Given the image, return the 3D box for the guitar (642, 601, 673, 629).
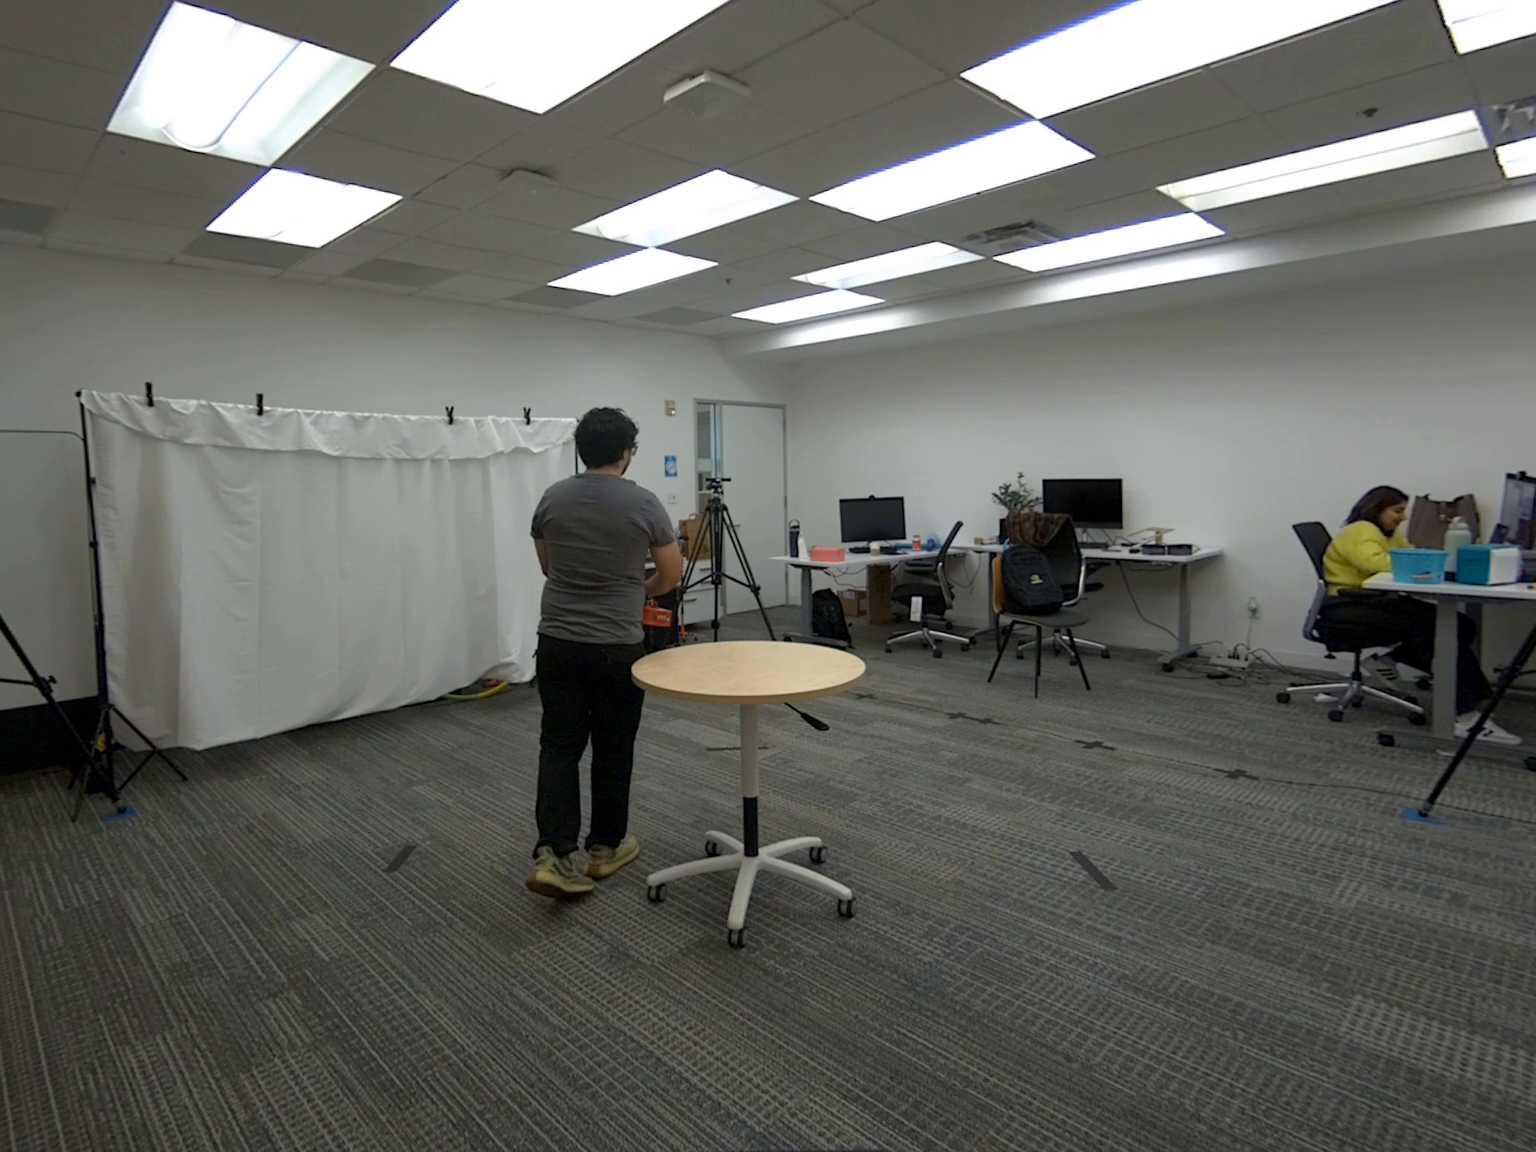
[{"bbox_3d":[-0.575,0.122,3.406,0.186,0.071,0.514,10,1,-43],"label":"guitar"}]
